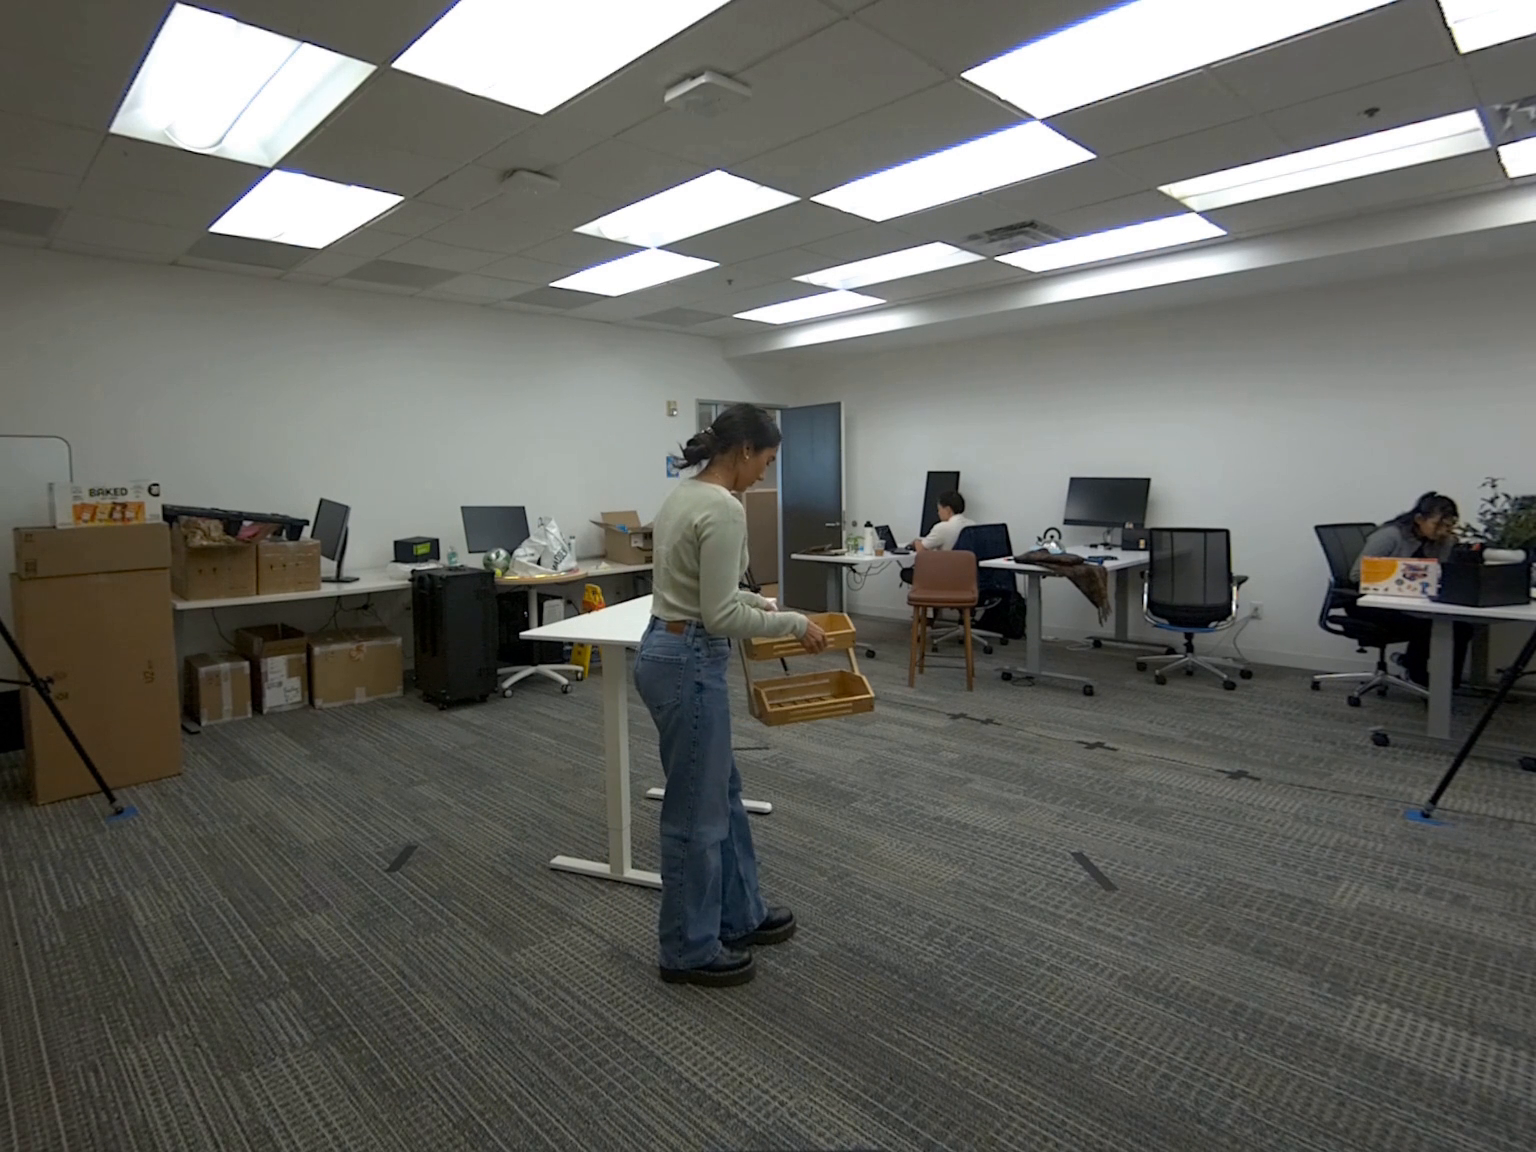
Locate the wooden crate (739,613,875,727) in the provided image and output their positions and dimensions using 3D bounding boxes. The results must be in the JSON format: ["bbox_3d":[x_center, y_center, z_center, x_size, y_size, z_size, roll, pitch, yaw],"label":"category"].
[{"bbox_3d":[0.102,0.254,2.425,0.321,0.273,0.305,-7,1,-11],"label":"wooden crate"}]
